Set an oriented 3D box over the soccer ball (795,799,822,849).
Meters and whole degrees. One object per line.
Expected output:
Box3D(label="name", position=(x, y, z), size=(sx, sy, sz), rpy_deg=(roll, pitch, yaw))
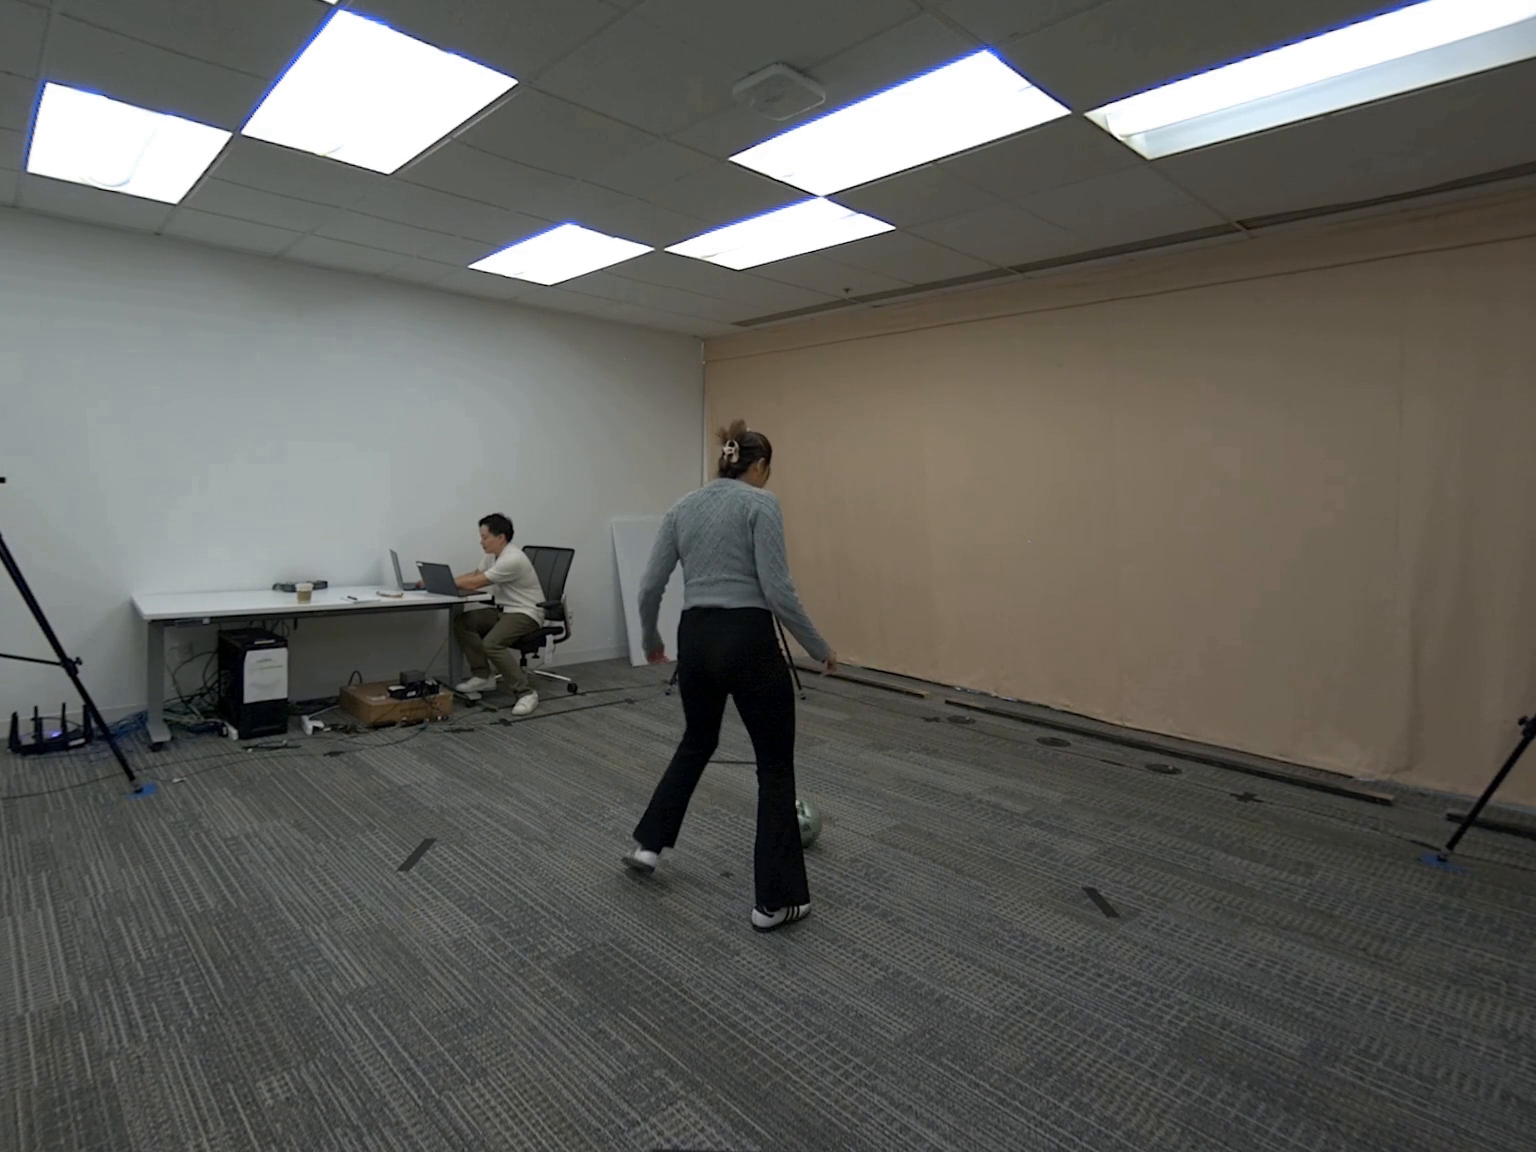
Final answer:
Box3D(label="soccer ball", position=(0.117, 0.989, 3.384), size=(0.187, 0.187, 0.188), rpy_deg=(1, 4, -1))
